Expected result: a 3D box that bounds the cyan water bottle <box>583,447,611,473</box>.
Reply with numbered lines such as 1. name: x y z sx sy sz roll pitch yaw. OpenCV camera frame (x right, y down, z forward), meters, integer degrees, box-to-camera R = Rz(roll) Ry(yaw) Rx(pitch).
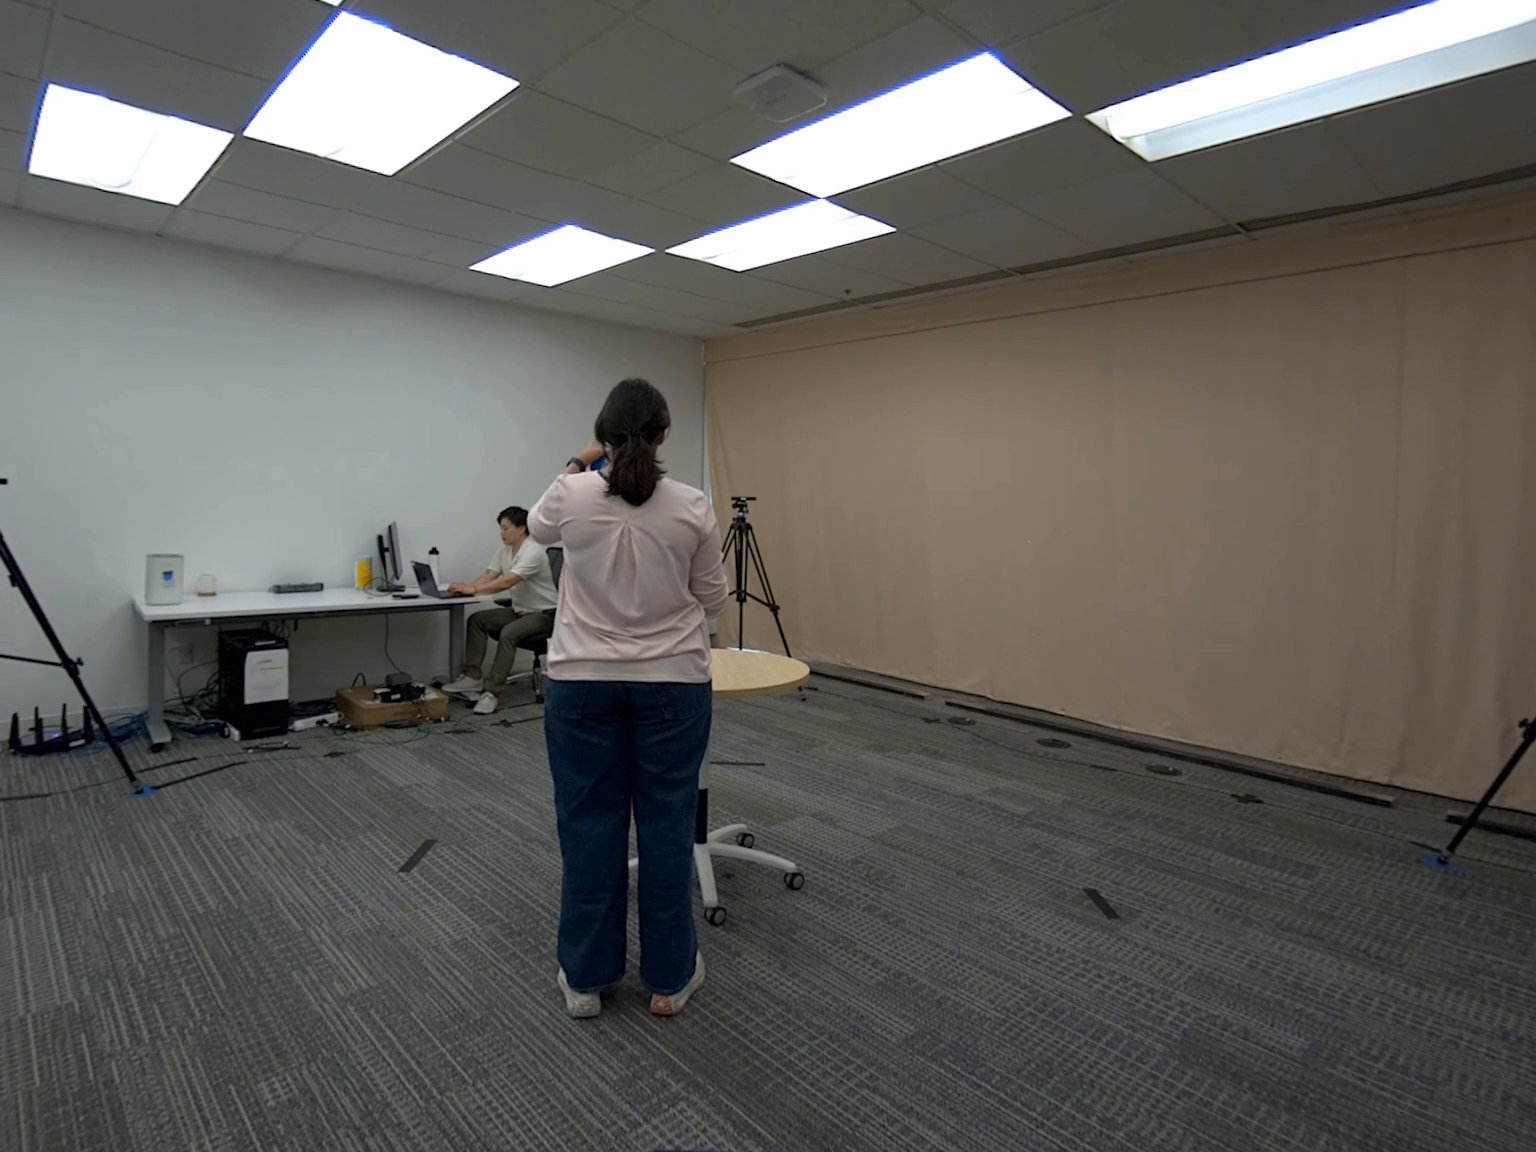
1. cyan water bottle: -0.475 -0.409 2.622 0.091 0.282 0.093 22 15 -8
